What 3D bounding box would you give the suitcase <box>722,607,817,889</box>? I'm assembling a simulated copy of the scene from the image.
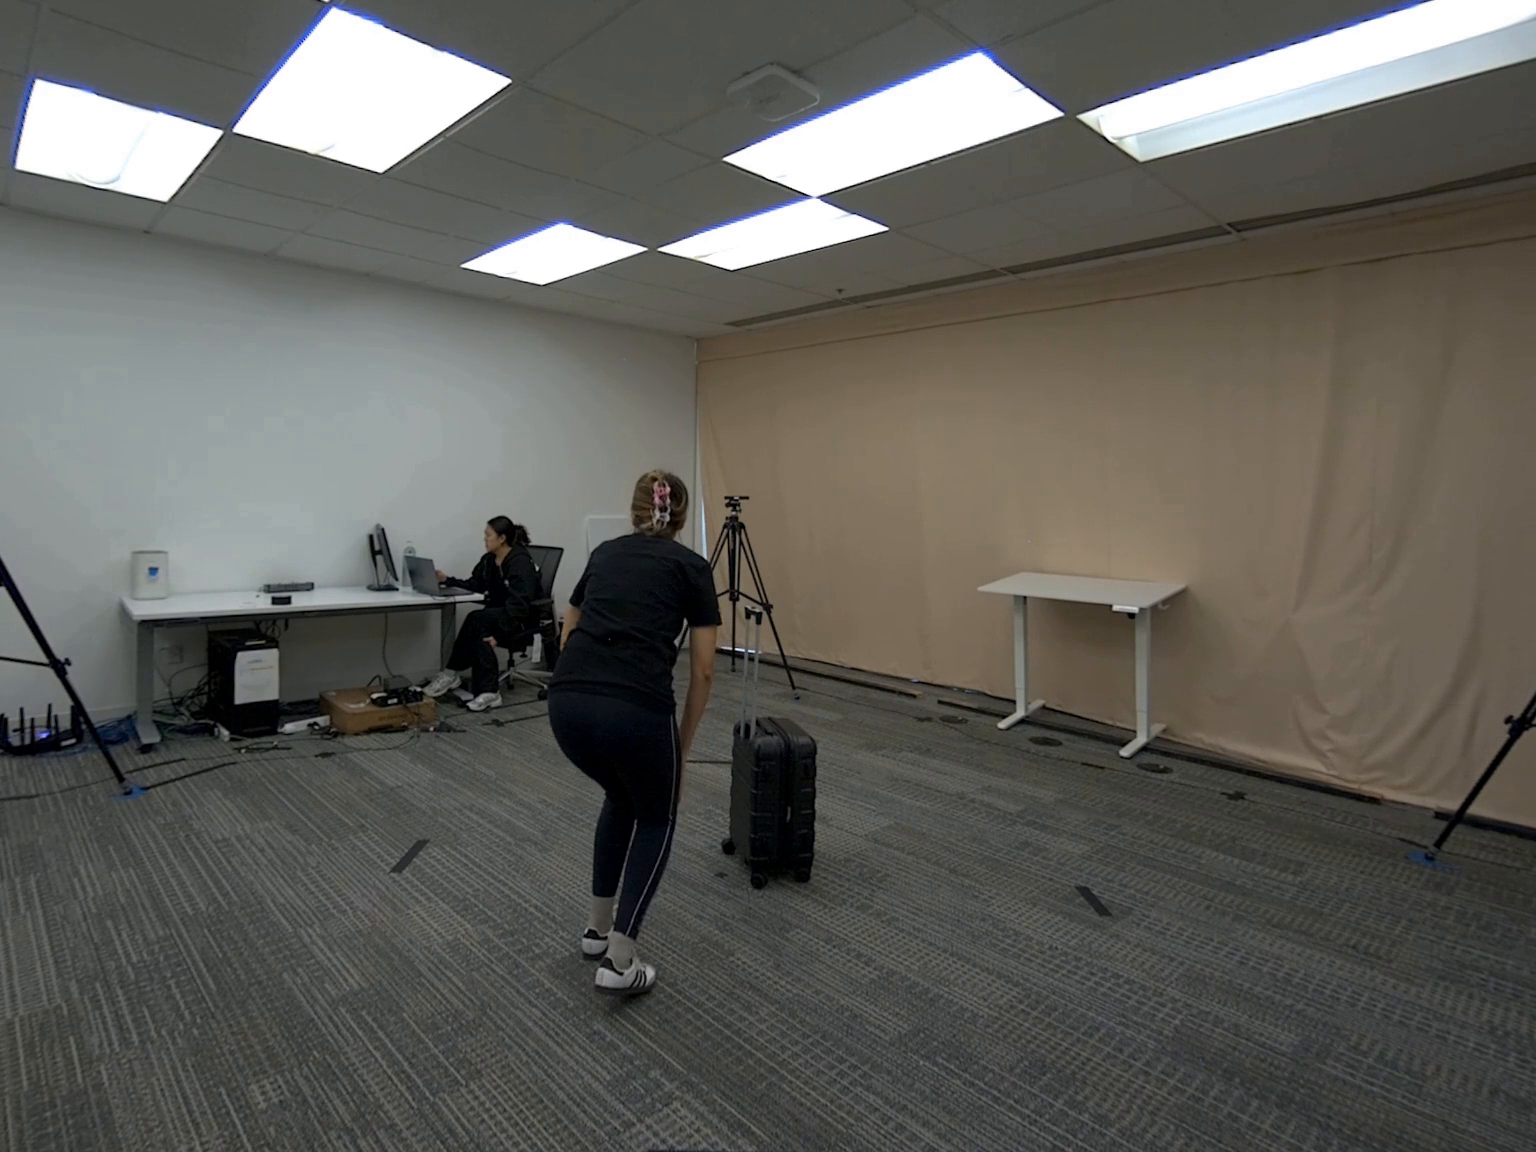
[{"bbox_3d":[0.019,0.624,3.169,0.254,0.977,0.389,3,3,-14],"label":"suitcase"}]
